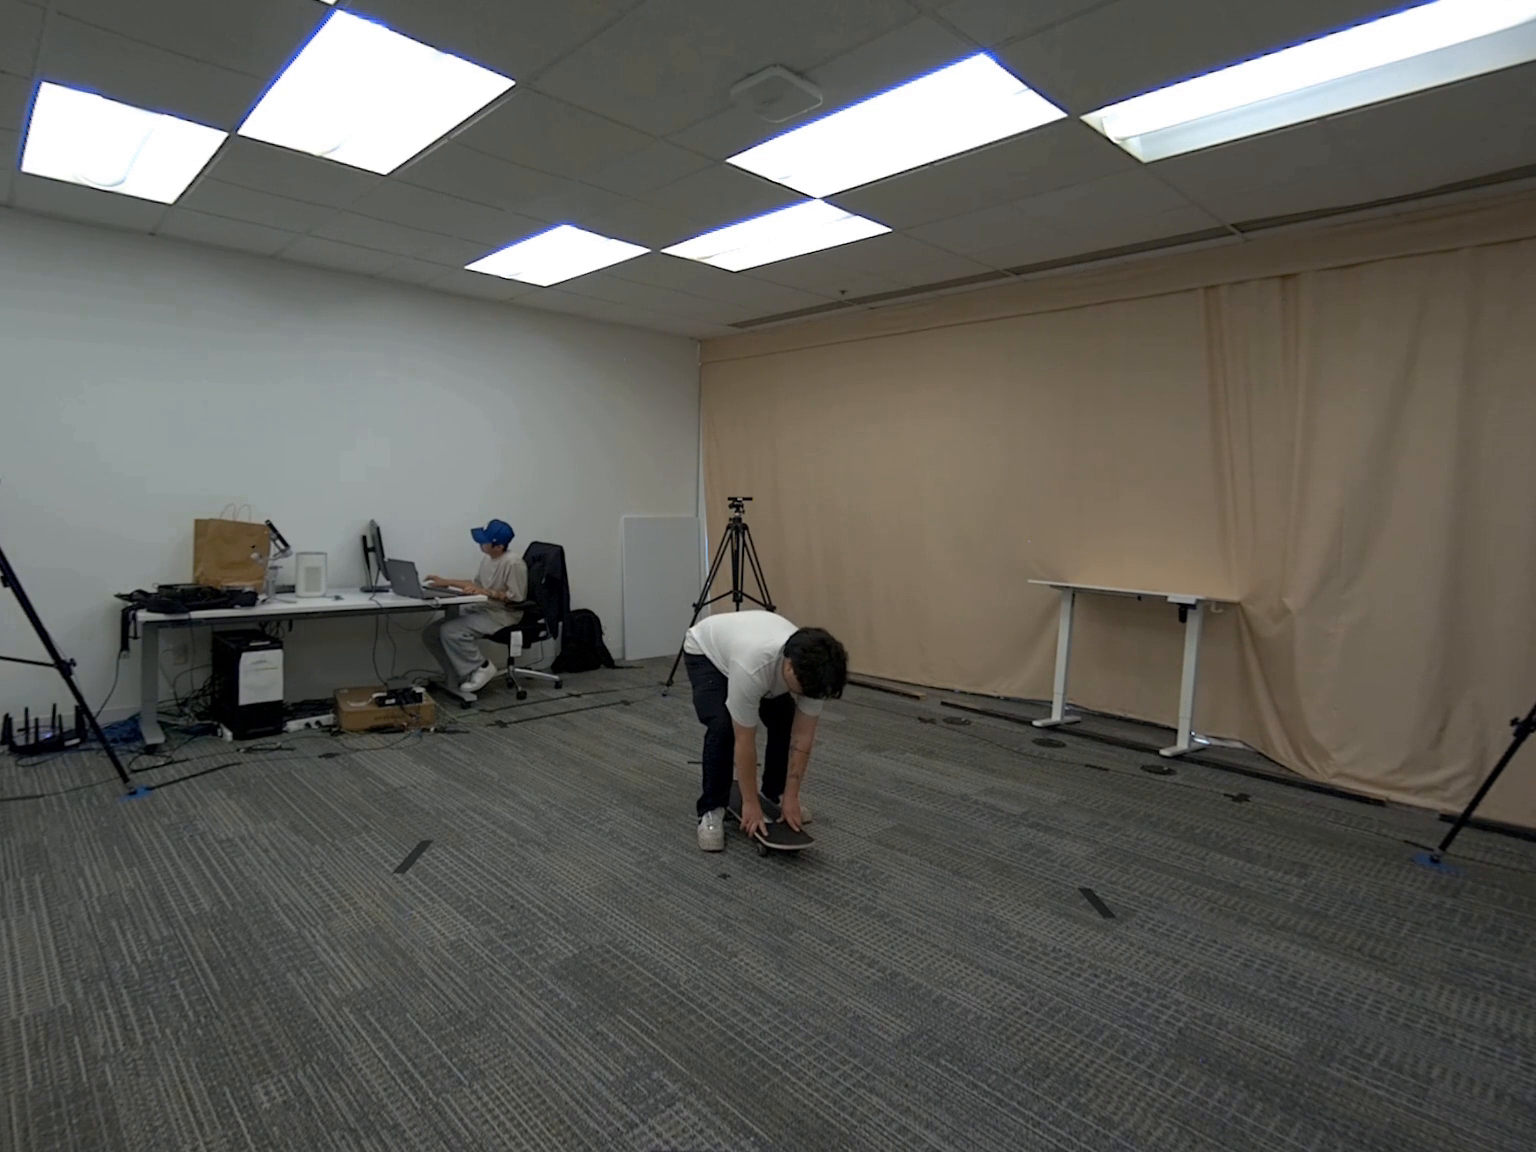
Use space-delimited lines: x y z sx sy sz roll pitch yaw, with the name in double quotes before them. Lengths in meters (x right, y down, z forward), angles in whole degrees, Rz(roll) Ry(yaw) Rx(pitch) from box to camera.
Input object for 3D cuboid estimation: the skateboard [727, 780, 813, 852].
"skateboard" -0.055 1.025 3.506 0.190 0.110 0.800 0 5 -23
